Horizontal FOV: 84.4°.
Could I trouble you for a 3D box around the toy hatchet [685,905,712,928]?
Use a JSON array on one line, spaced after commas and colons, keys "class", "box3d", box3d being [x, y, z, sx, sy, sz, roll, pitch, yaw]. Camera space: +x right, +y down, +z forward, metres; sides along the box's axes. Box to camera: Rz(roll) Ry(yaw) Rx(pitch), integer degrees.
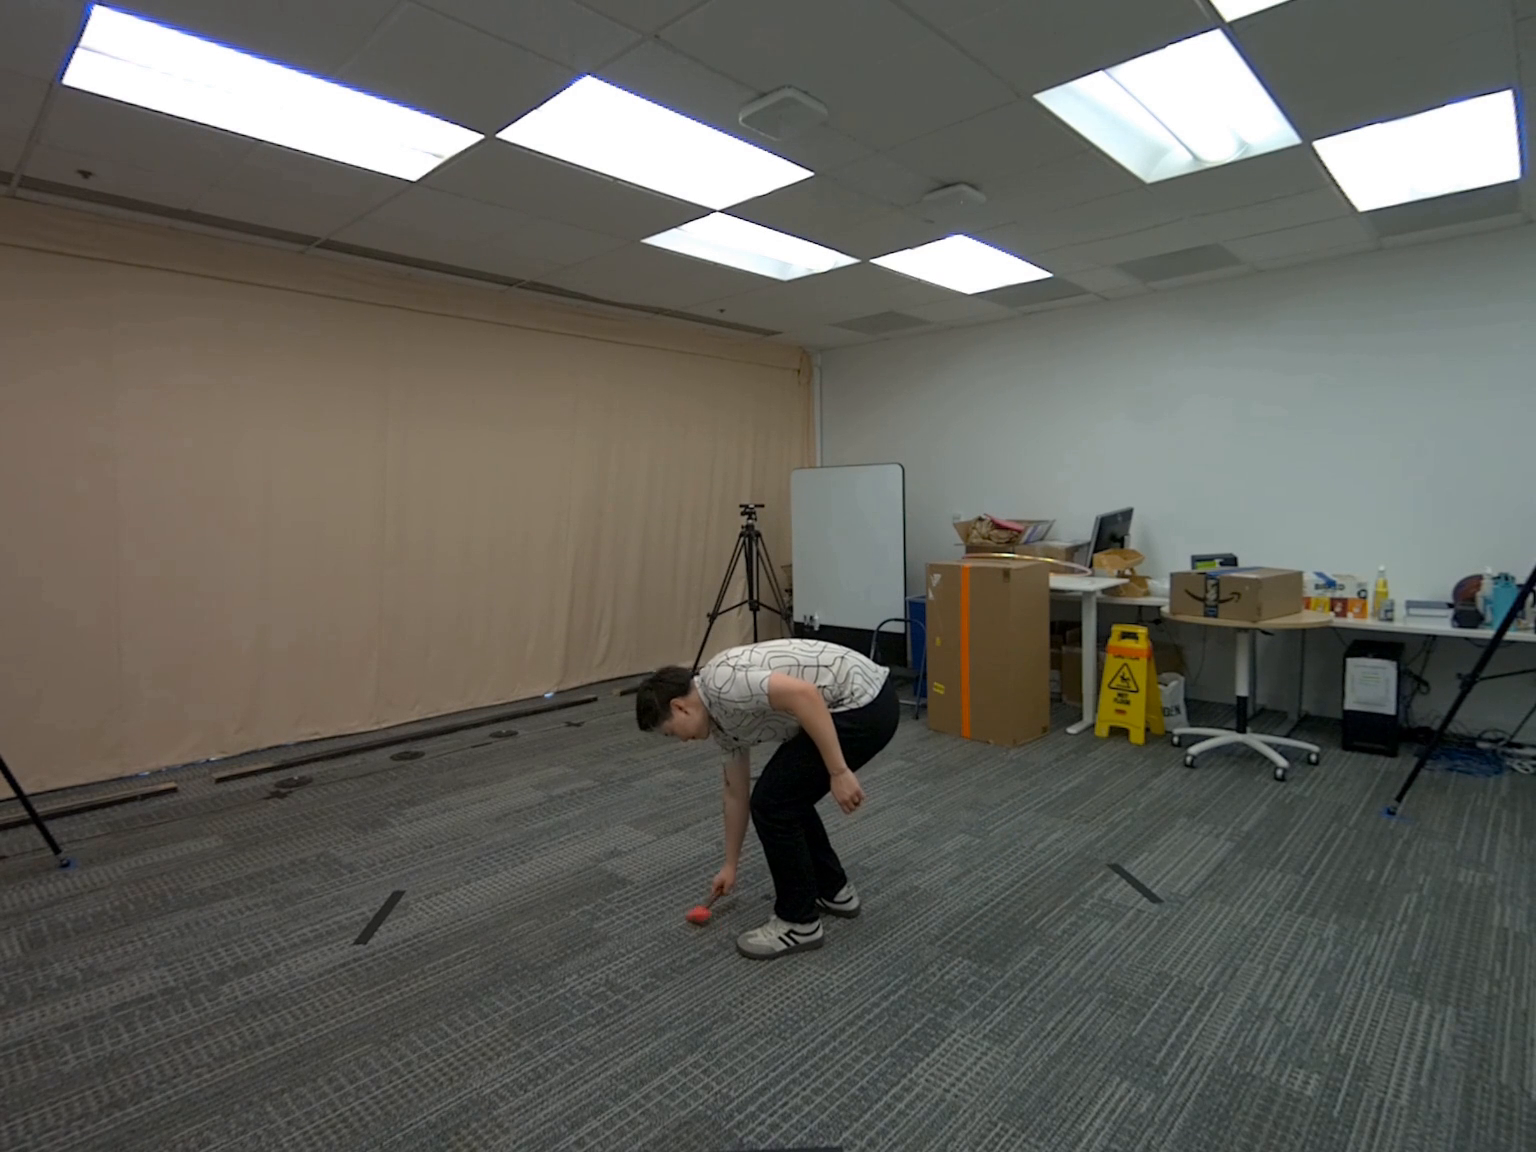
[{"class": "toy hatchet", "box3d": [-0.194, 1.100, 2.889, 0.133, 0.030, 0.266, -29, -1, 21]}]
